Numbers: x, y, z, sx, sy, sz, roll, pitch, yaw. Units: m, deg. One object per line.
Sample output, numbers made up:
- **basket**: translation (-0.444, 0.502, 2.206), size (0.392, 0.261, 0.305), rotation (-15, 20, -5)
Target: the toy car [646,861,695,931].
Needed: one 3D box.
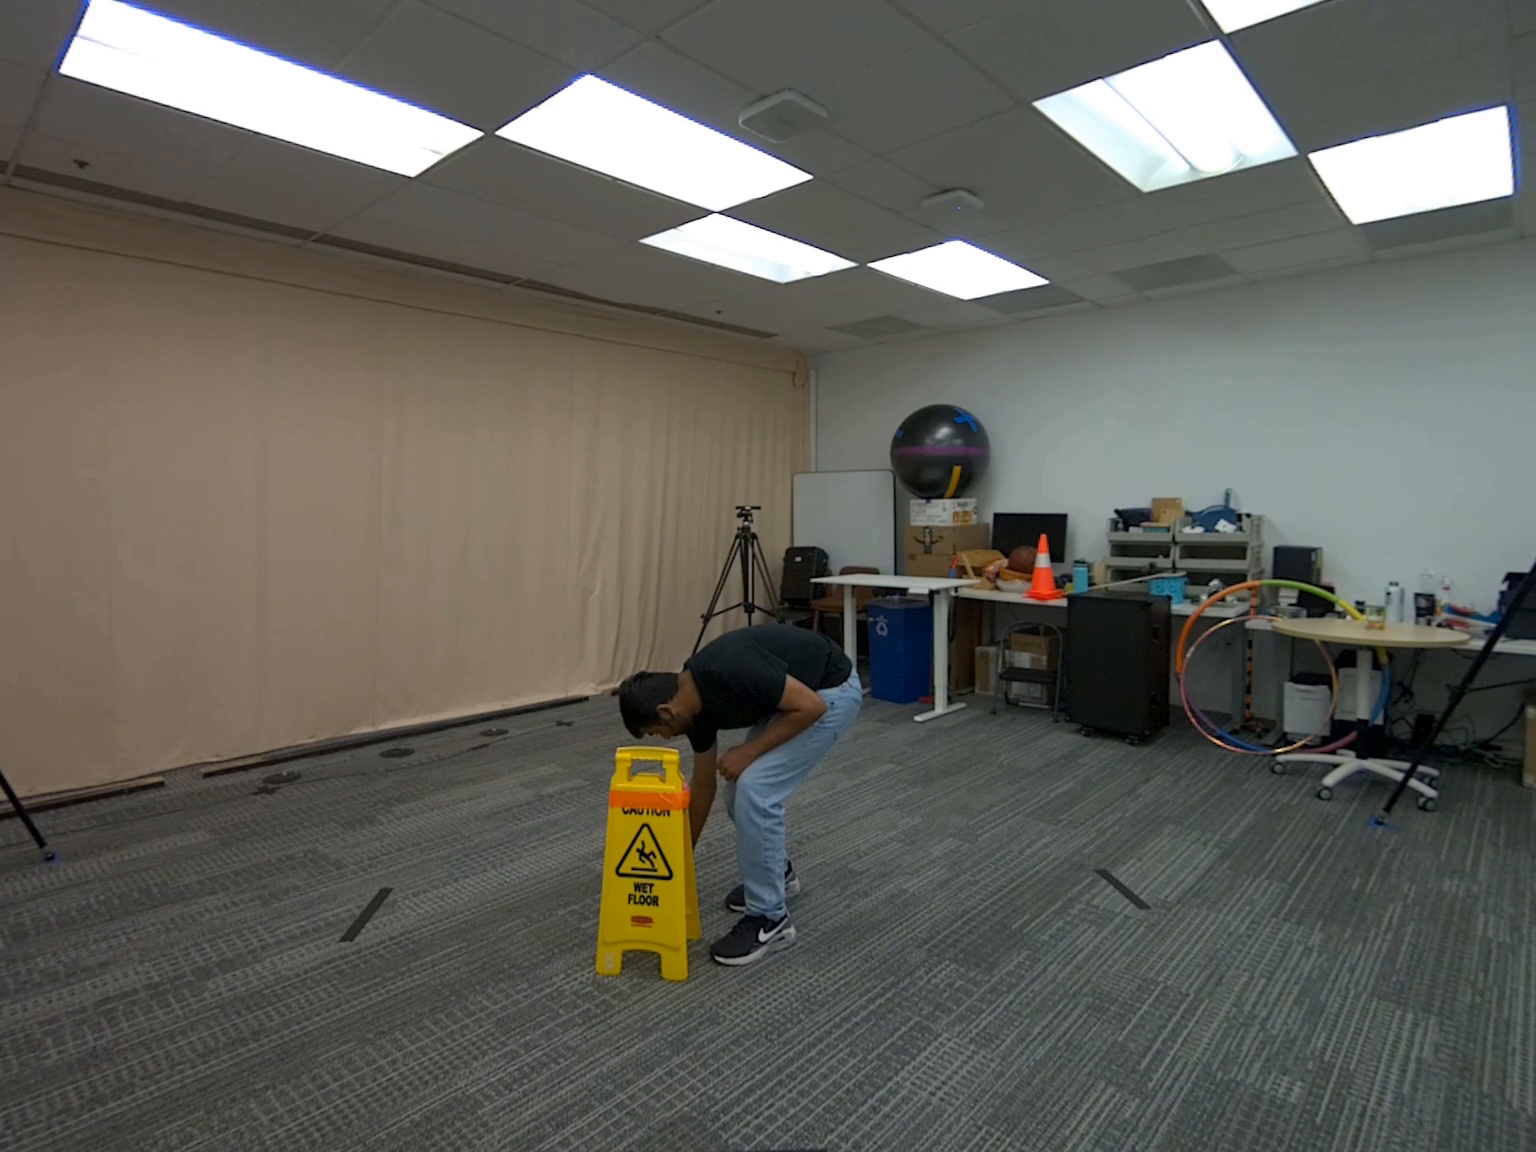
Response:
- **toy car**: translation (-0.339, 1.116, 2.970), size (0.131, 0.082, 0.255), rotation (1, 15, 3)
